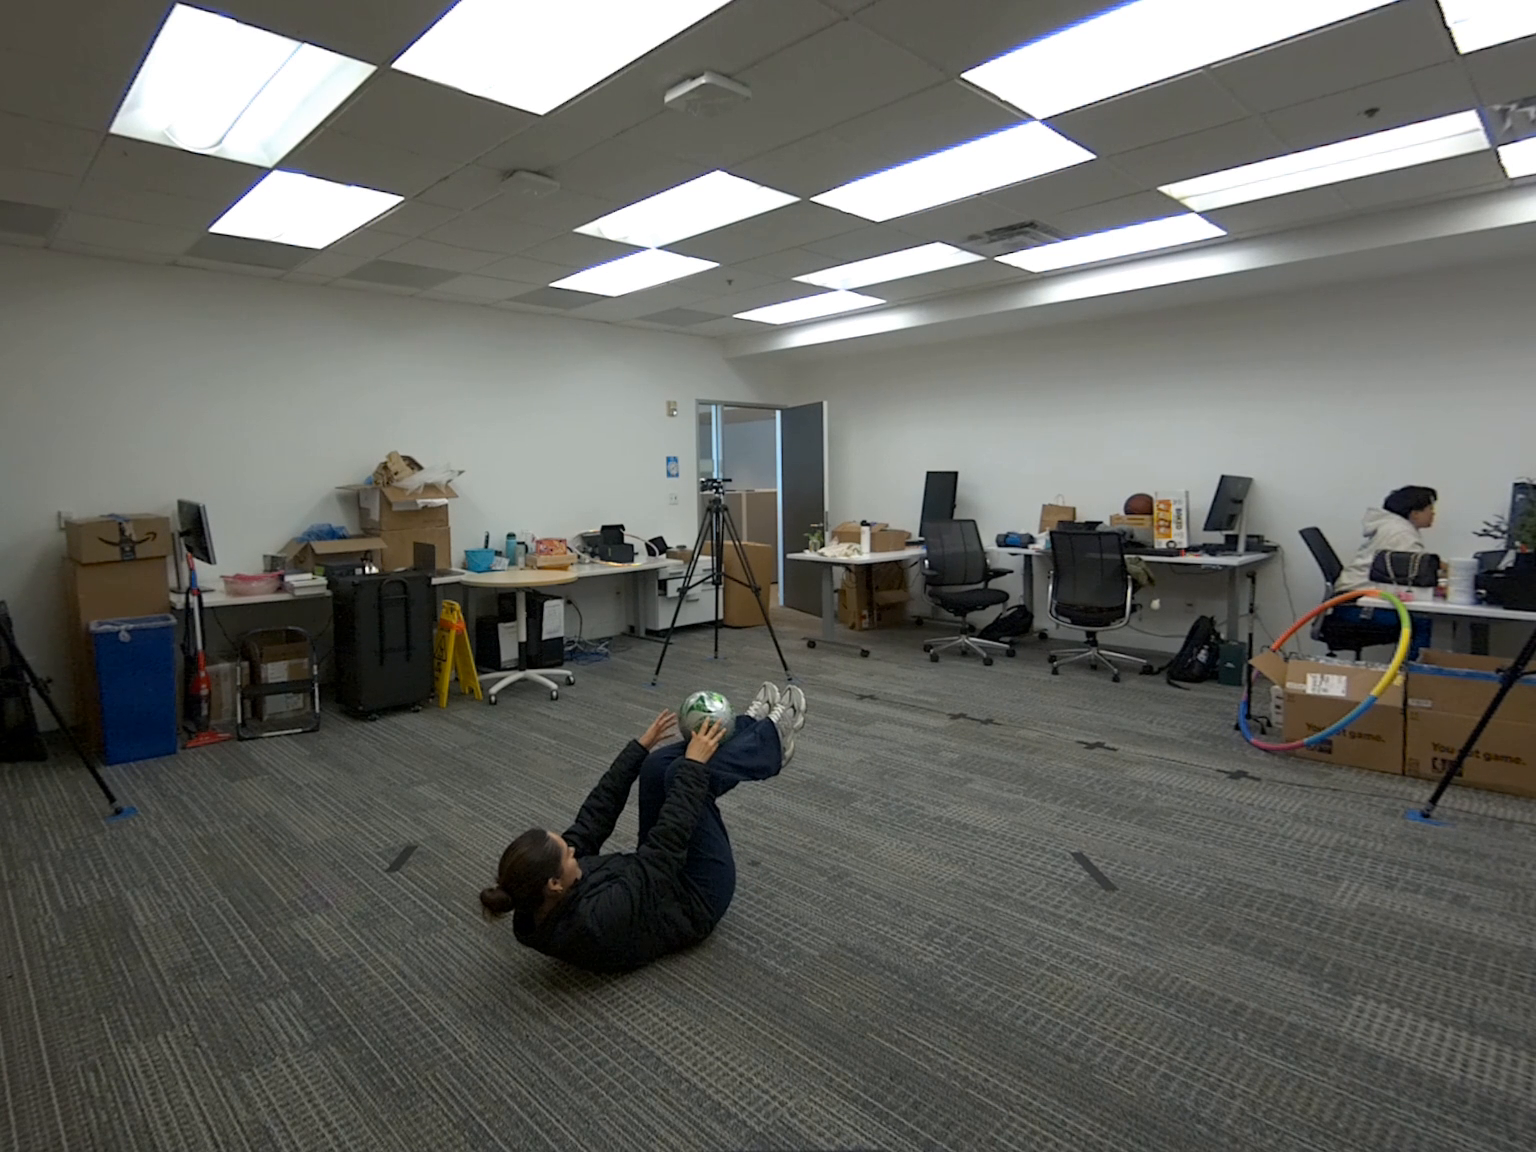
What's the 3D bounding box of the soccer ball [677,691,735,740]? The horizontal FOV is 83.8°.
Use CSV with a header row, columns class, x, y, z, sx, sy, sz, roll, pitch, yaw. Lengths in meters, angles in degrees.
class,x,y,z,sx,sy,sz,roll,pitch,yaw
soccer ball,-0.192,0.465,2.755,0.187,0.187,0.188,0,1,-2
